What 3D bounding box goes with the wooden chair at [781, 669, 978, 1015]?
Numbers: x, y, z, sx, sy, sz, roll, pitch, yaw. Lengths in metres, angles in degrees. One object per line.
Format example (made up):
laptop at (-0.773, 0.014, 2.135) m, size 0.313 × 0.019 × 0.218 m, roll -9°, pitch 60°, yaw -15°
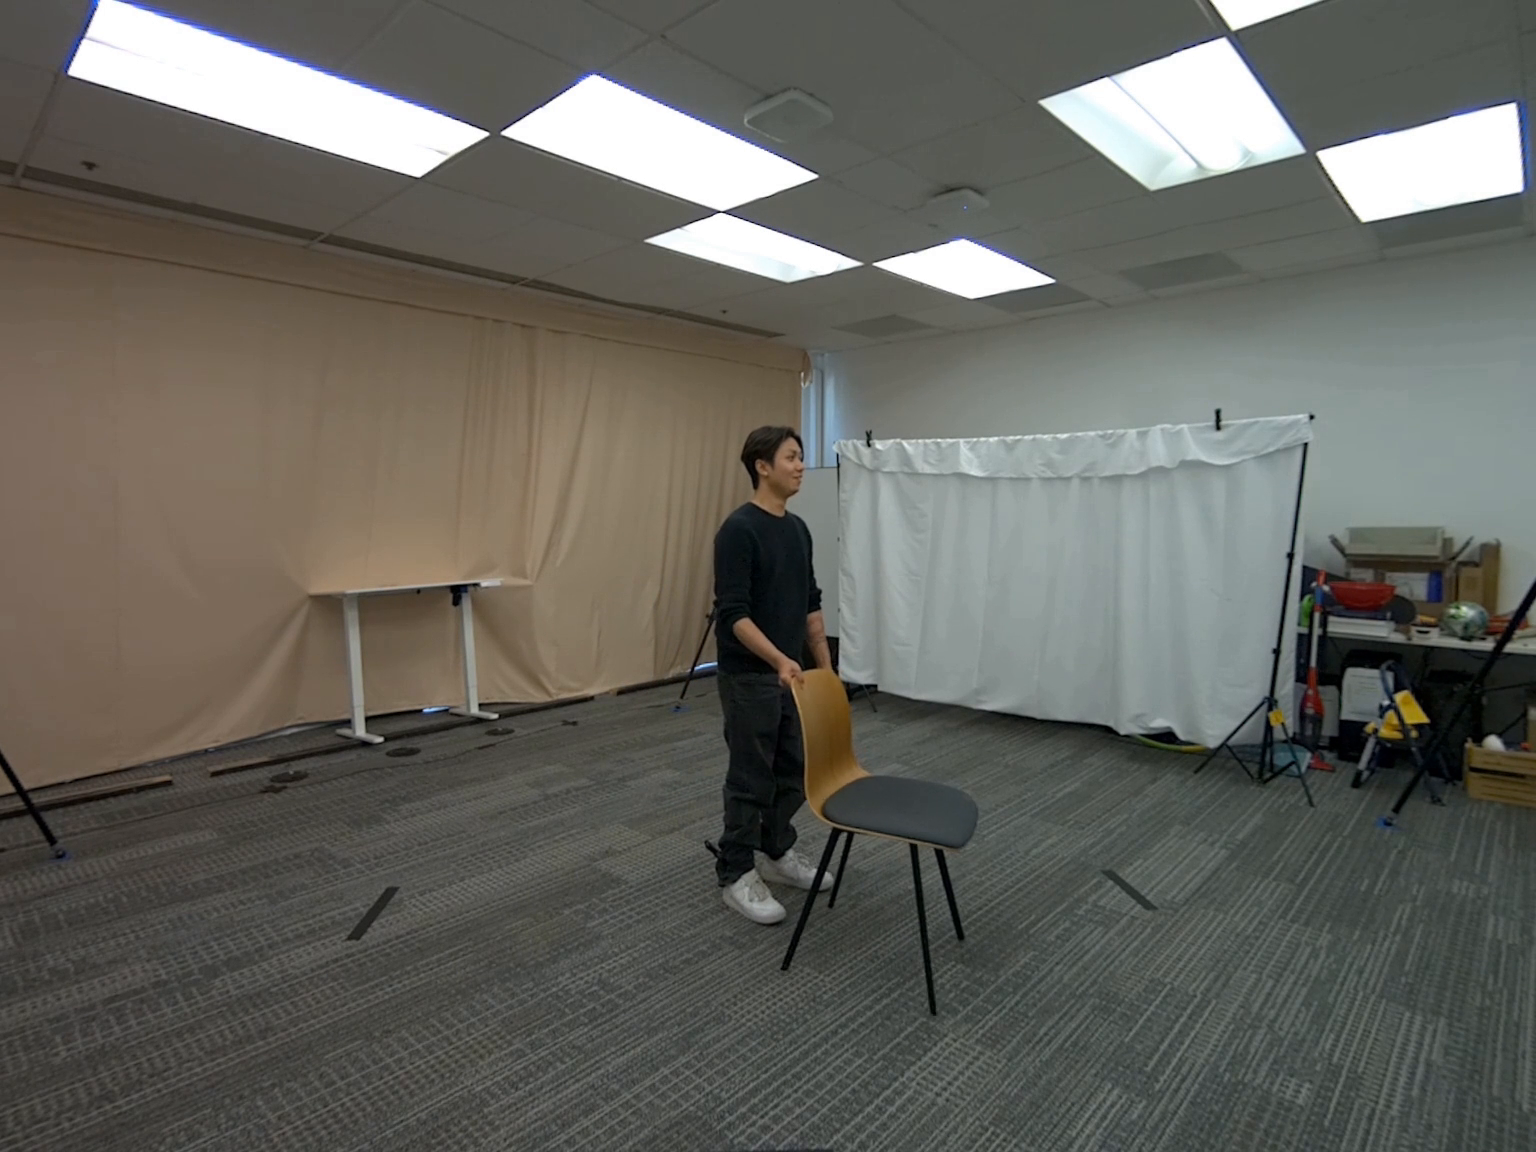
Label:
wooden chair at (0.365, 0.747, 2.559) m, size 0.536 × 0.876 × 0.467 m, roll -1°, pitch 2°, yaw 24°
